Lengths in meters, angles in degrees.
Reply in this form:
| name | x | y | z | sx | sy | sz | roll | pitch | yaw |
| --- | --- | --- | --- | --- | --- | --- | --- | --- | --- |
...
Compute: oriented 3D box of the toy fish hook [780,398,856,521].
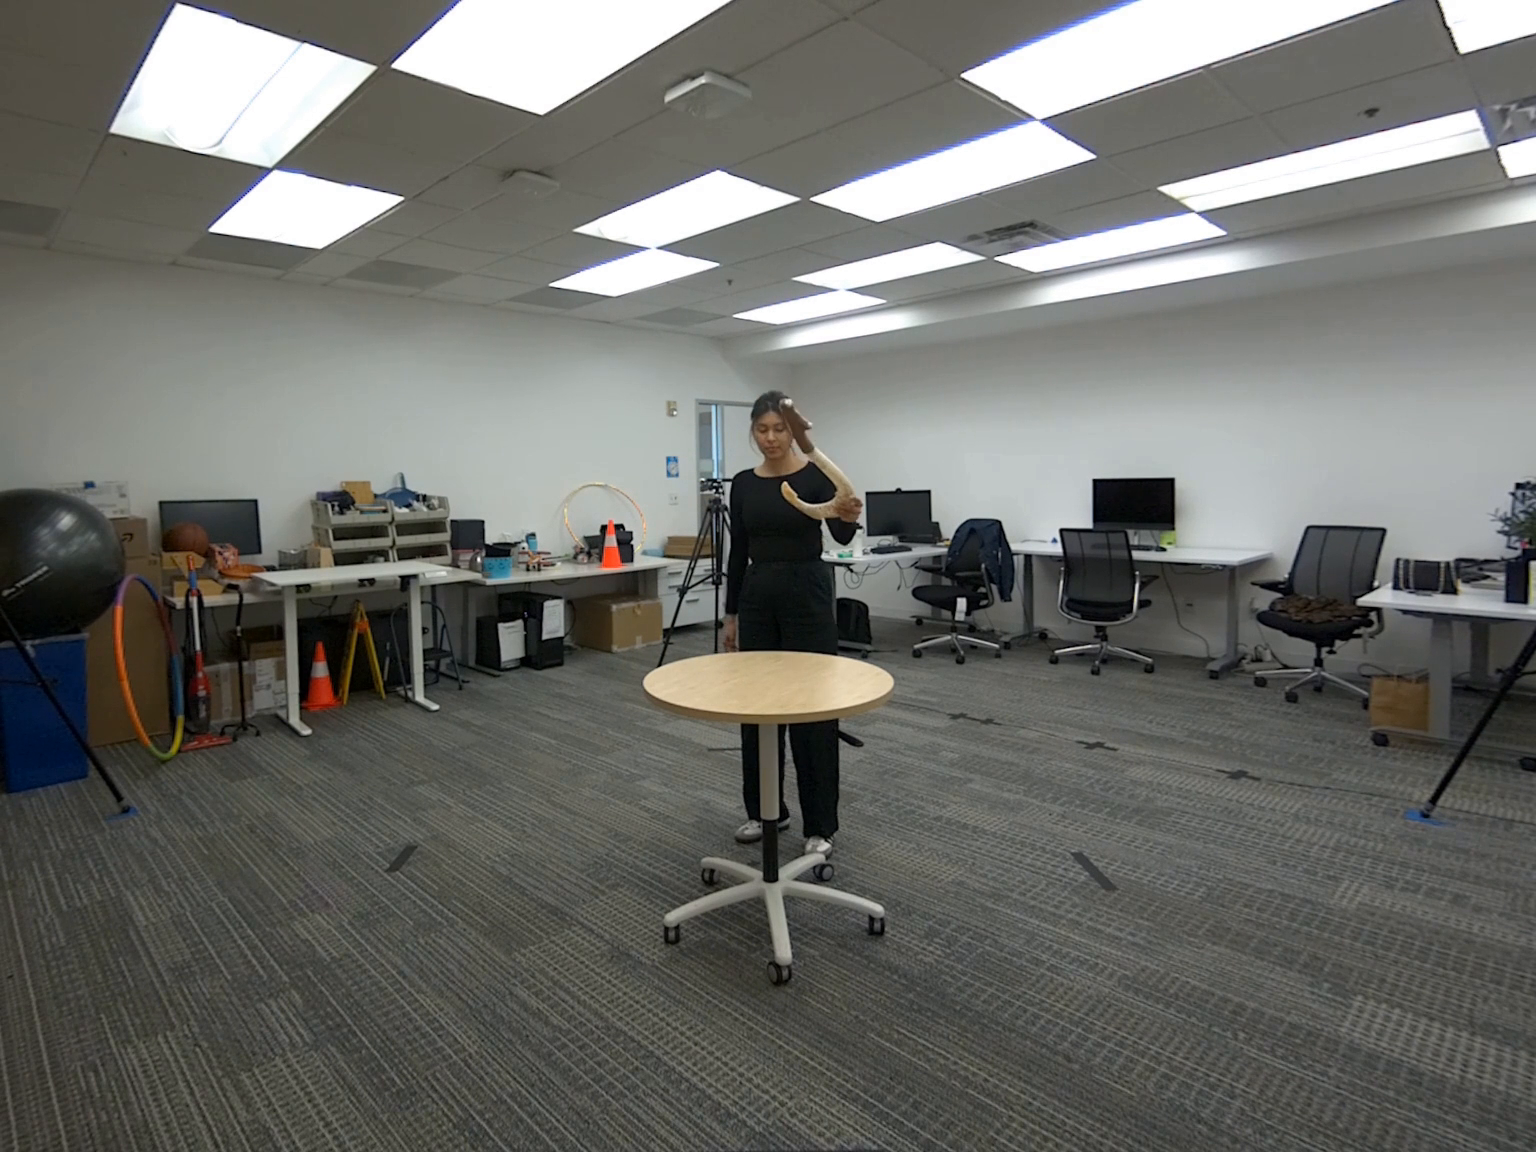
| name | x | y | z | sx | sy | sz | roll | pitch | yaw |
| --- | --- | --- | --- | --- | --- | --- | --- | --- | --- |
| toy fish hook | 0.103 | -0.340 | 2.623 | 0.228 | 0.049 | 0.488 | -13 | -46 | 23 |
